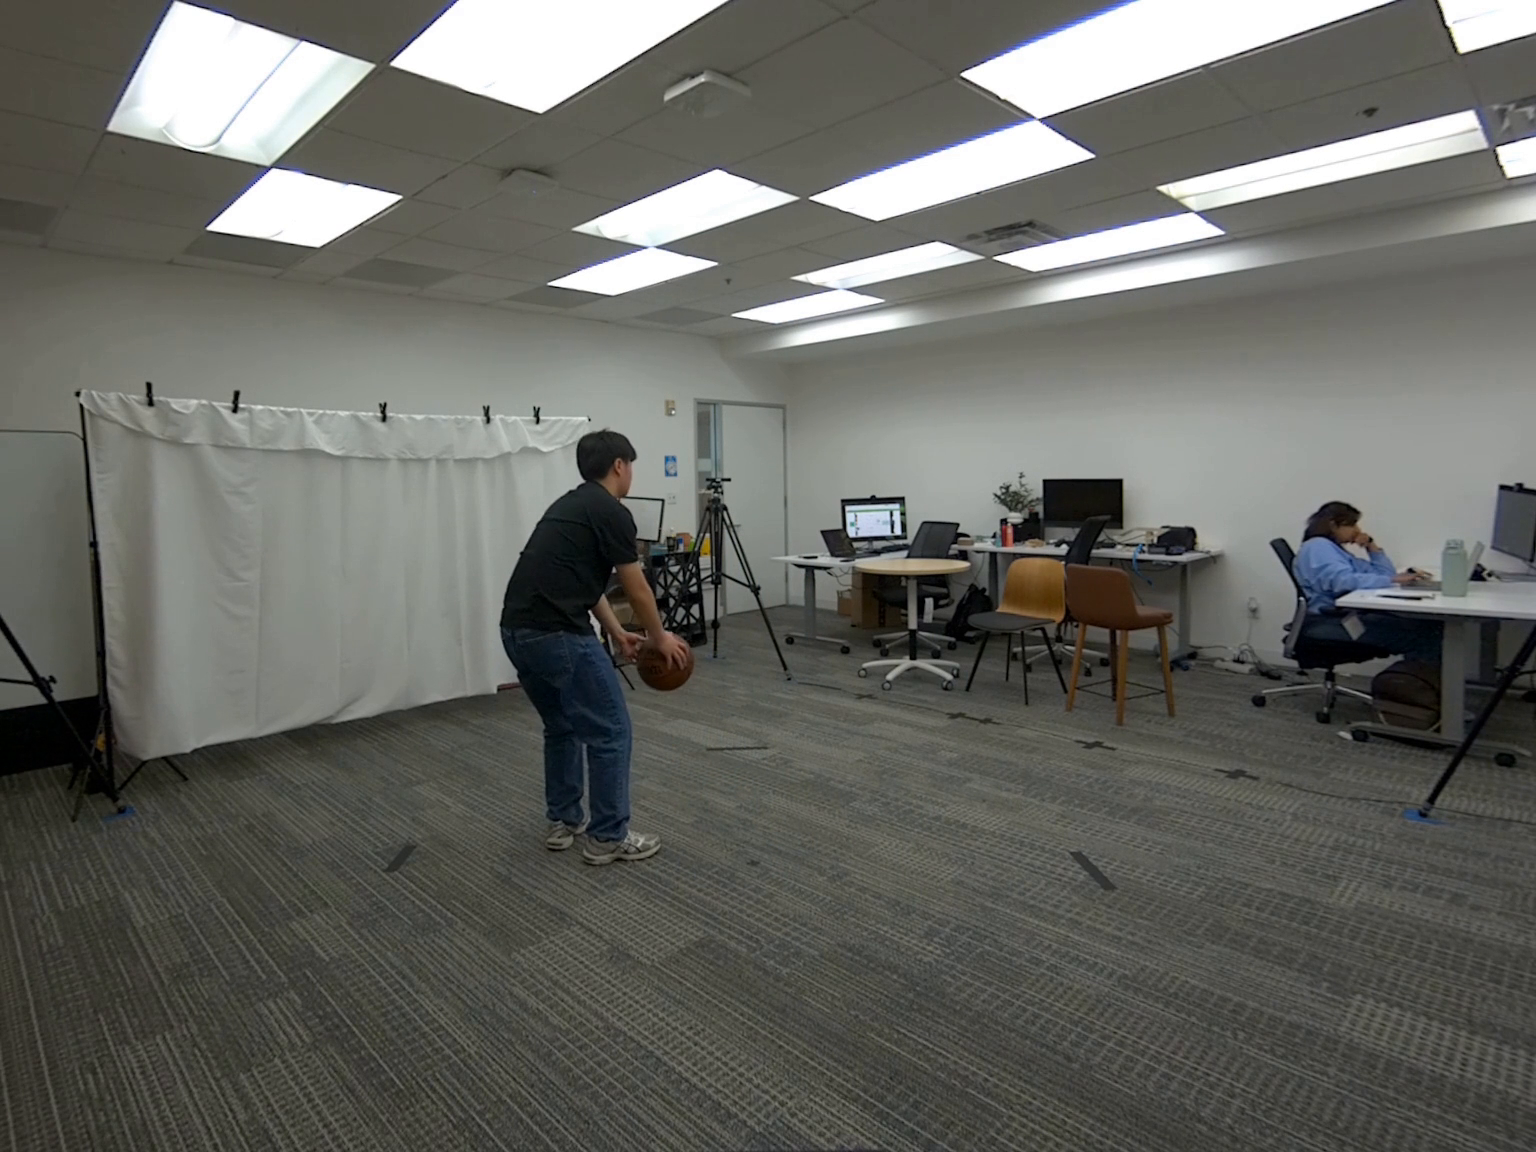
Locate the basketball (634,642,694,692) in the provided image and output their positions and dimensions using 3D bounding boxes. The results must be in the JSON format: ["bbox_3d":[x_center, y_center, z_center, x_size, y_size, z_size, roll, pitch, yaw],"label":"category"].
[{"bbox_3d":[-0.422,0.353,3.520,0.236,0.235,0.237,-1,5,-2],"label":"basketball"}]
